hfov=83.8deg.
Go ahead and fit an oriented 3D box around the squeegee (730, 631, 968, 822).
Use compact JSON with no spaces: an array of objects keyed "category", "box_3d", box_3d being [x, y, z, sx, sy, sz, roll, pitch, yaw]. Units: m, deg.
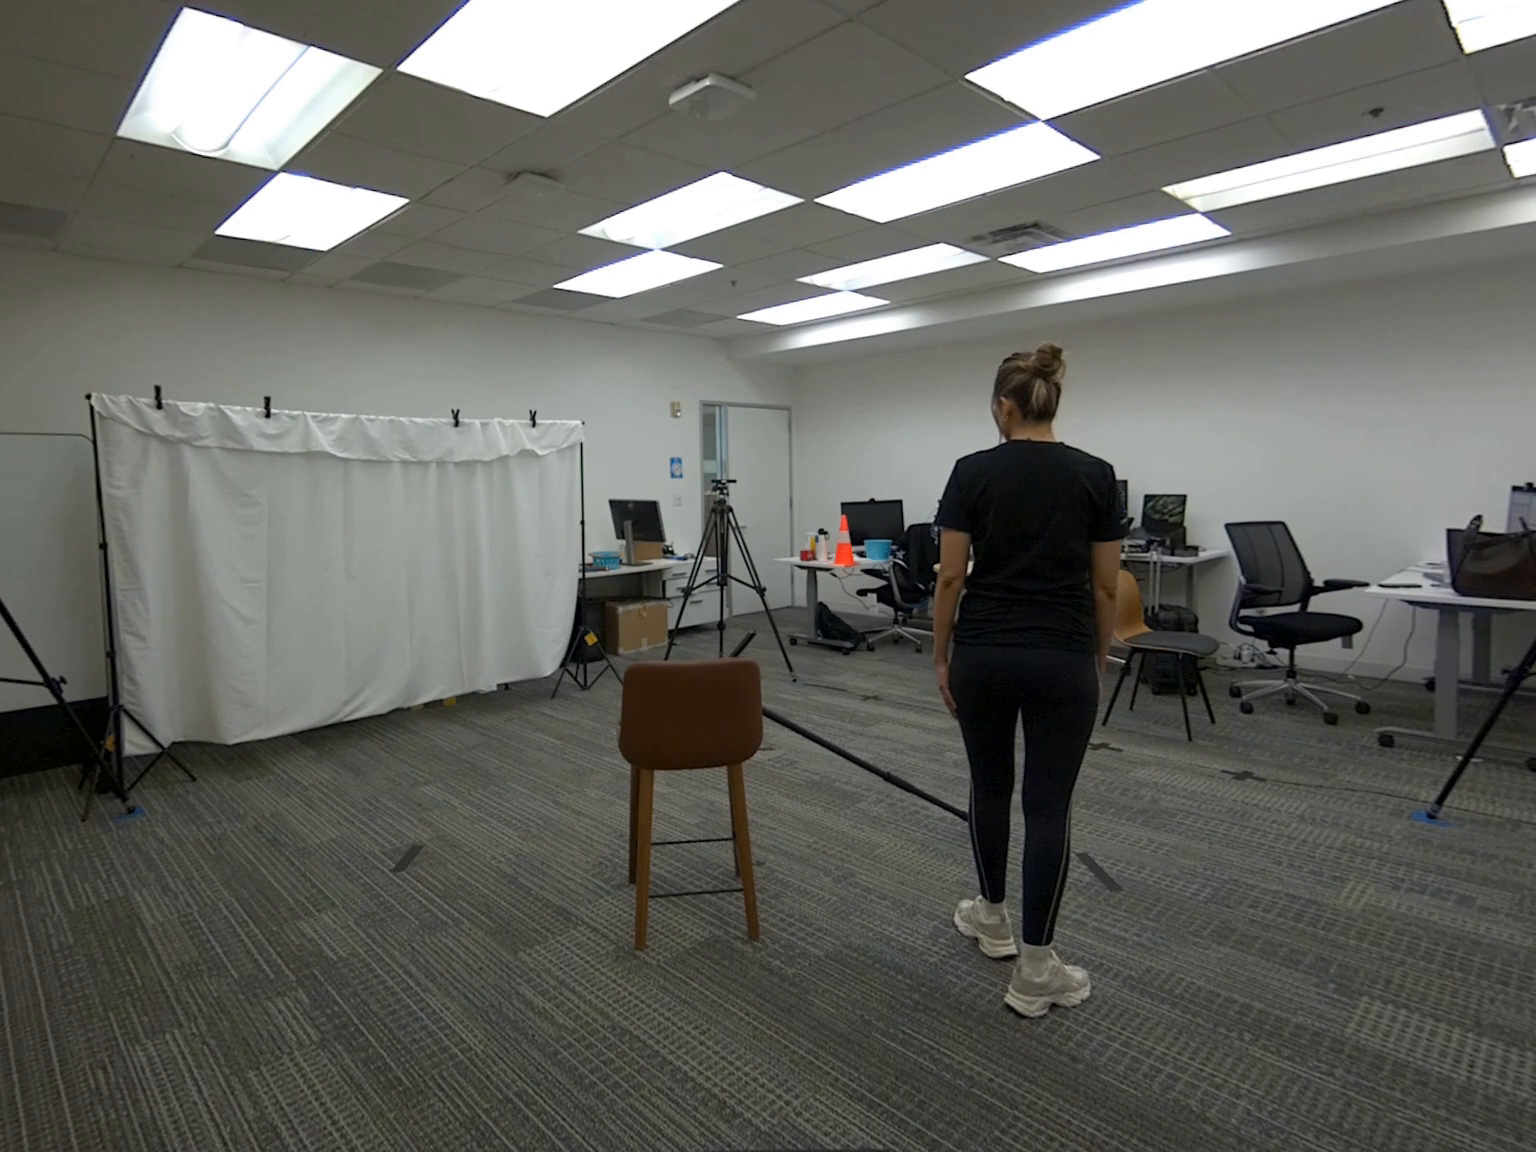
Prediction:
[{"category":"squeegee","box_3d":[0.321,0.641,2.988,1.484,0.437,0.055,32,6,-33]}]
